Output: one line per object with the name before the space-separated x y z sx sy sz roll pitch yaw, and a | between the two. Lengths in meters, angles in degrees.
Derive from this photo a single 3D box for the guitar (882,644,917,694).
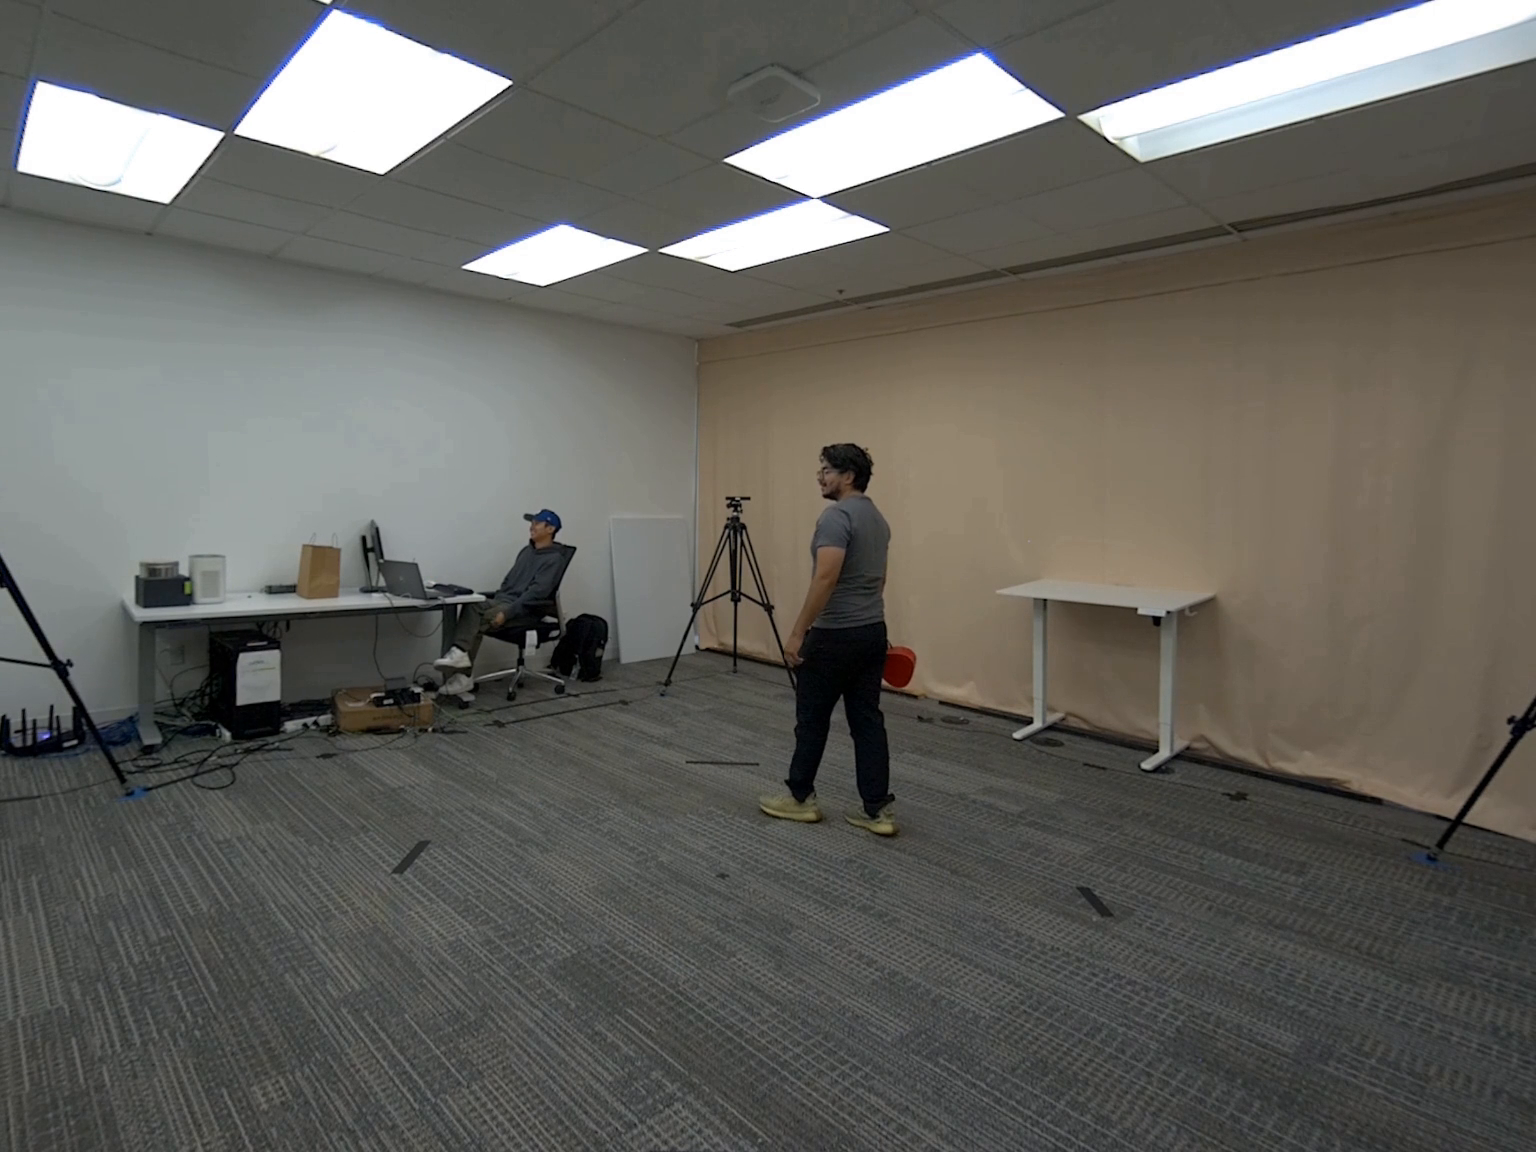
guitar | 0.412 0.376 3.865 0.507 0.189 0.071 12 35 20
